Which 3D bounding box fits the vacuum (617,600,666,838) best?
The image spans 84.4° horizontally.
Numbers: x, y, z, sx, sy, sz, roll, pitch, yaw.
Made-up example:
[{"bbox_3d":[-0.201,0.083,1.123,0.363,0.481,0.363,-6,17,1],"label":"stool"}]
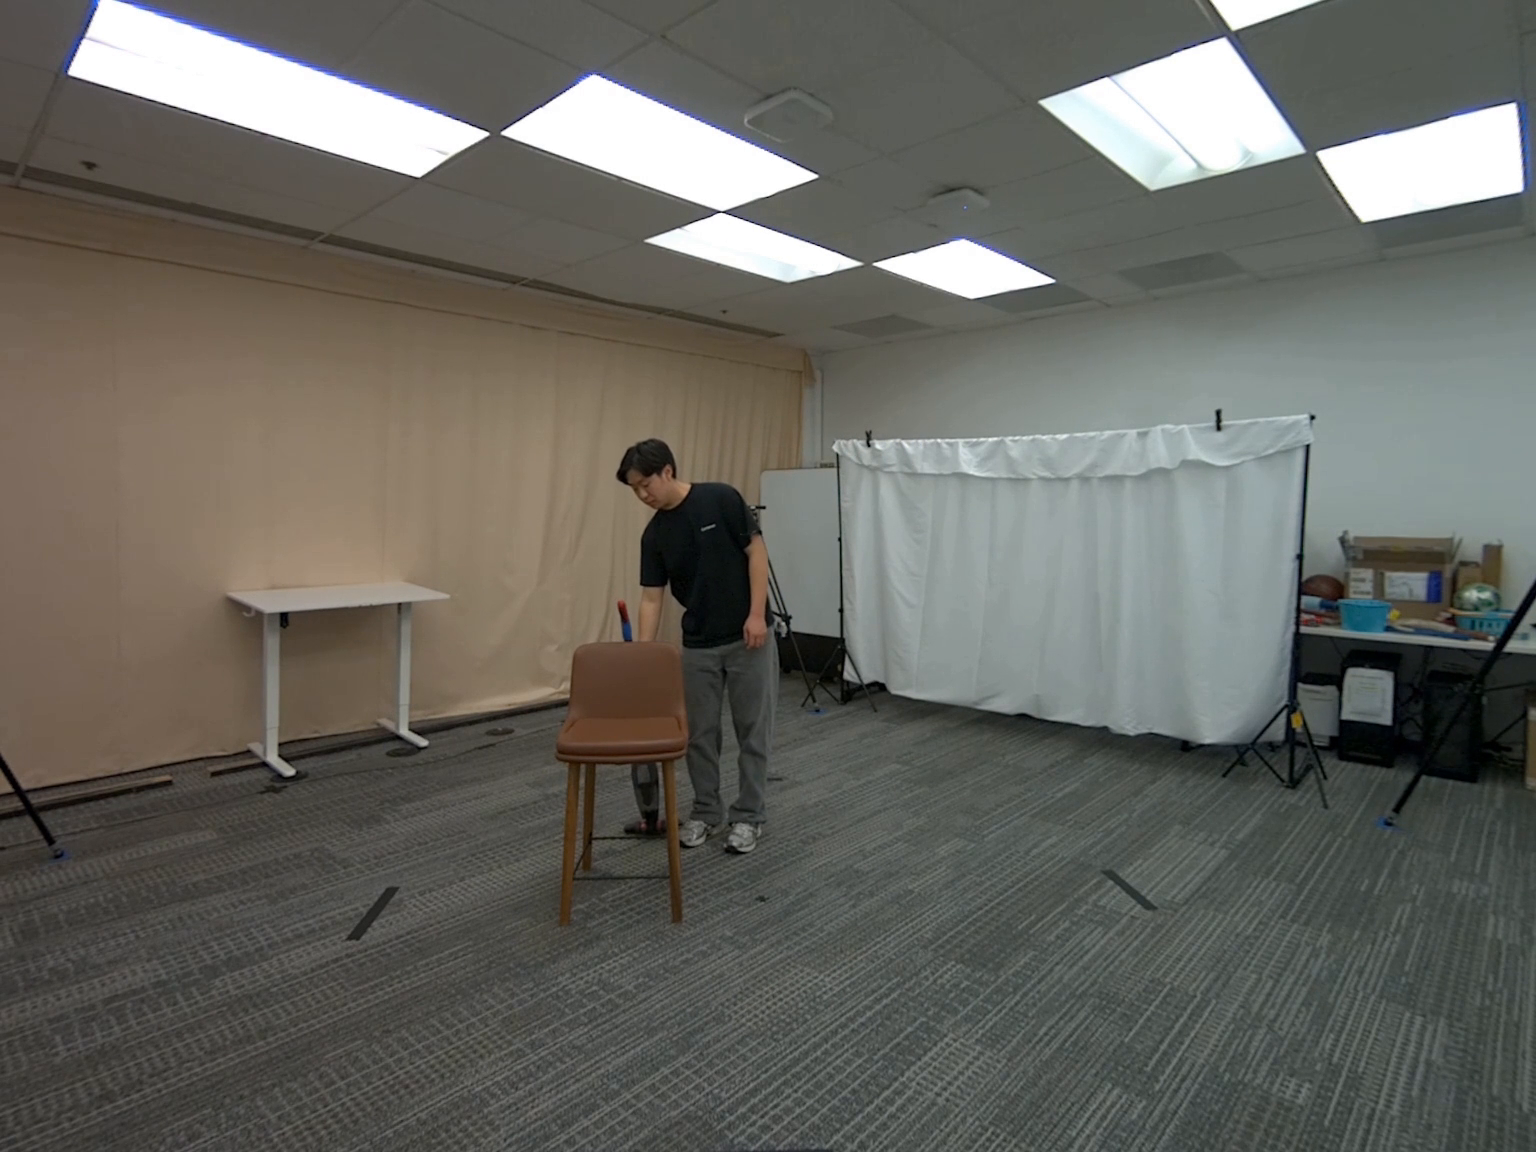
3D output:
[{"bbox_3d":[-0.534,0.591,3.400,0.250,1.035,0.147,-8,20,-11],"label":"vacuum"}]
